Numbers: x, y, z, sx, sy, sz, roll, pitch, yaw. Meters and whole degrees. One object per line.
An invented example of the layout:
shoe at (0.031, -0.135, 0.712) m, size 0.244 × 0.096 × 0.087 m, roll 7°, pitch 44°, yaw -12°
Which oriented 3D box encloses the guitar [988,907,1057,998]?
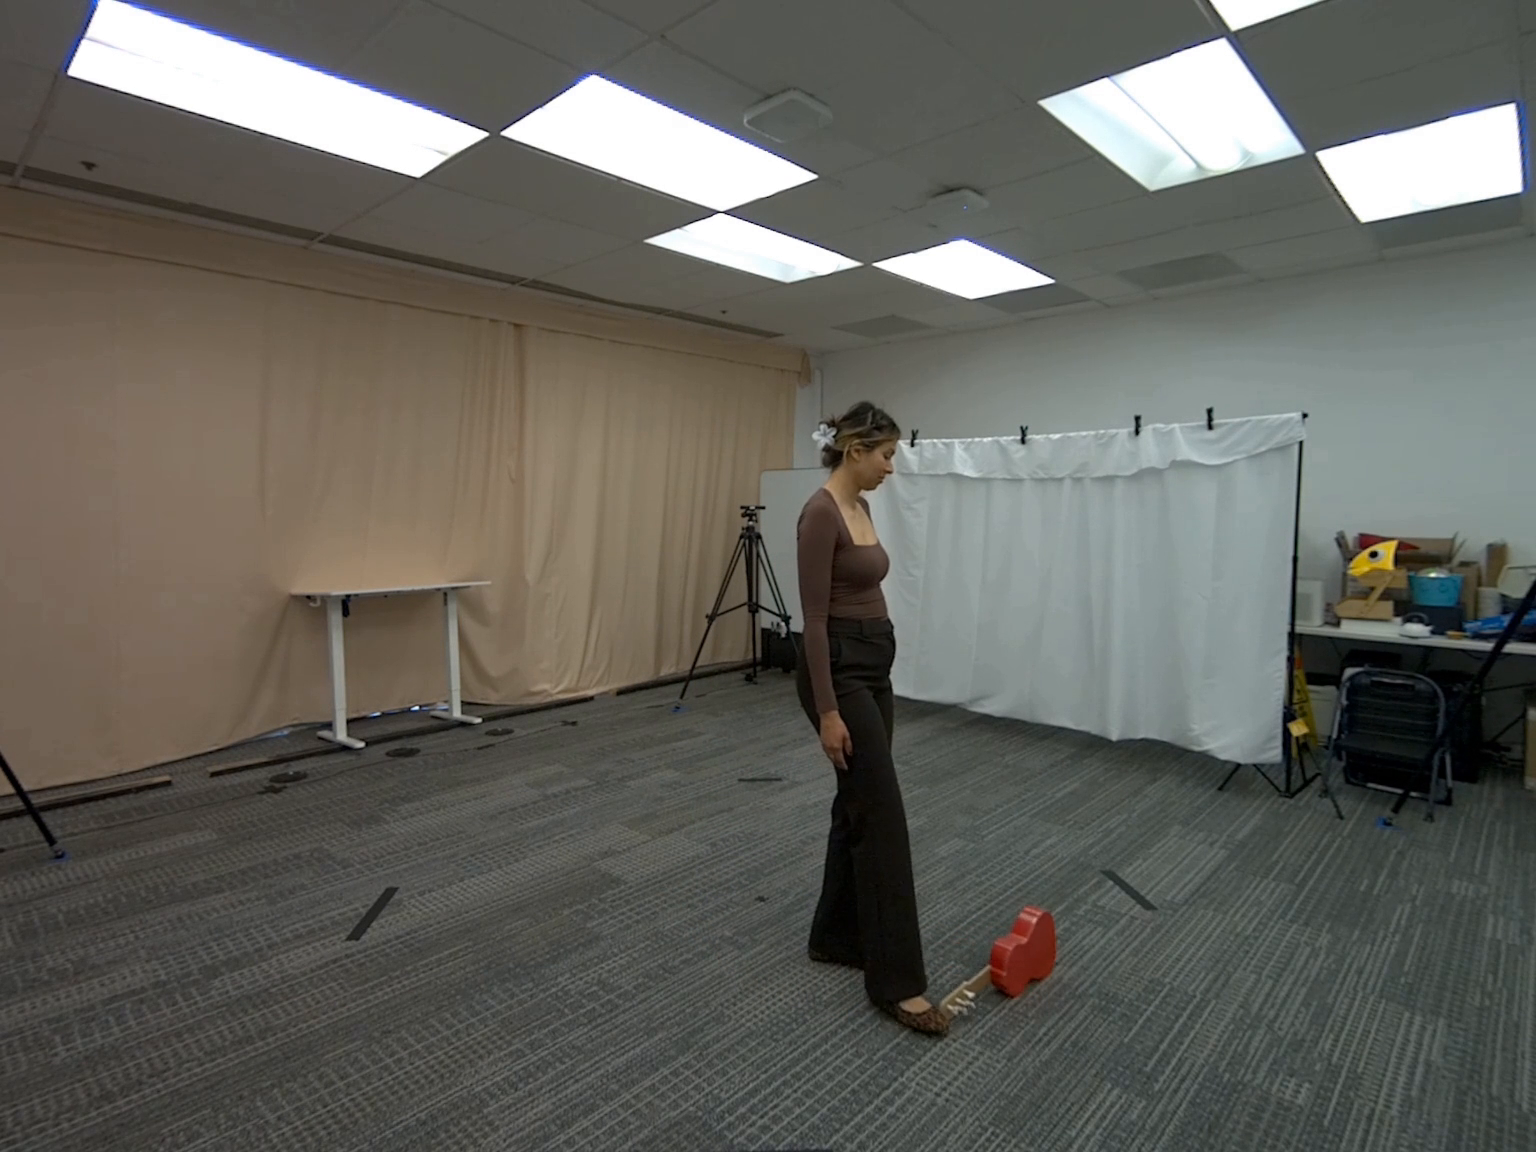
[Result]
guitar at (0.675, 1.152, 2.389) m, size 0.488 × 0.191 × 0.073 m, roll -27°, pitch 17°, yaw -38°
